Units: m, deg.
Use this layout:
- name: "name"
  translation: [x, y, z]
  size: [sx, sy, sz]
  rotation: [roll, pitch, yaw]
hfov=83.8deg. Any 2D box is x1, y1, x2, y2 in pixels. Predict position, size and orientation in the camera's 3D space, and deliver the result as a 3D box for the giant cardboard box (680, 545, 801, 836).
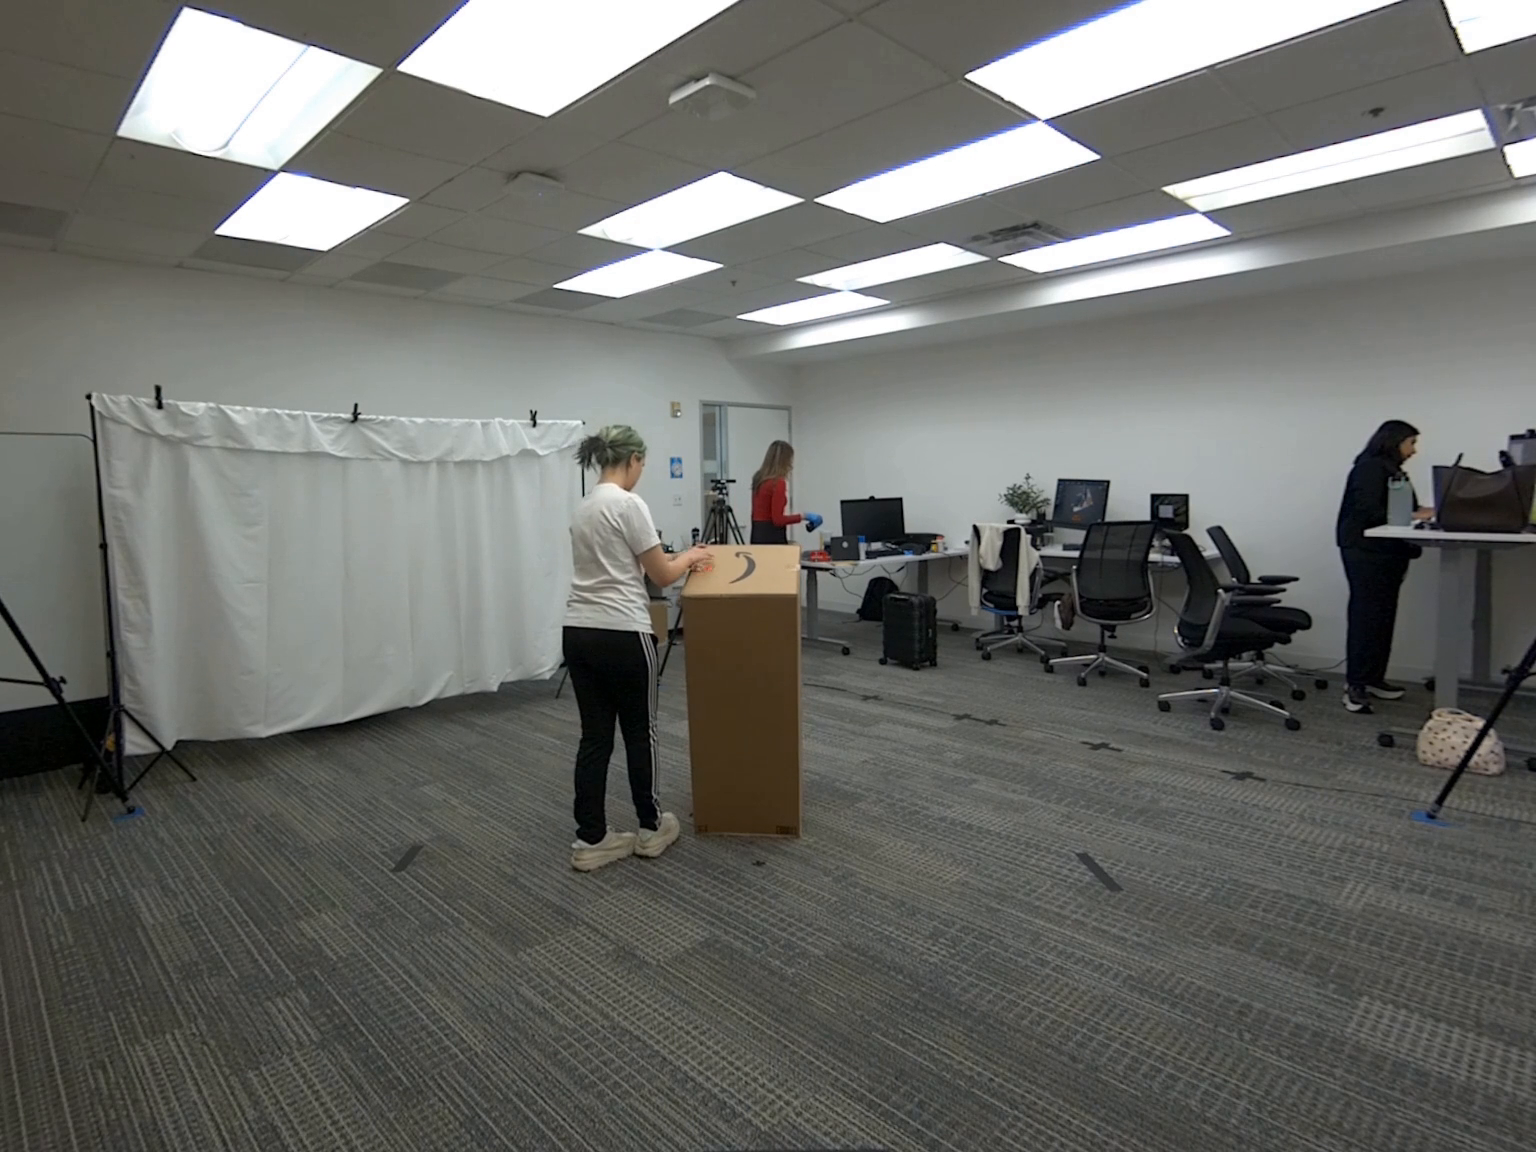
- name: "giant cardboard box"
  translation: [-0.080, 0.453, 3.478]
  size: [0.428, 1.009, 0.584]
  rotation: [0, 18, 4]
